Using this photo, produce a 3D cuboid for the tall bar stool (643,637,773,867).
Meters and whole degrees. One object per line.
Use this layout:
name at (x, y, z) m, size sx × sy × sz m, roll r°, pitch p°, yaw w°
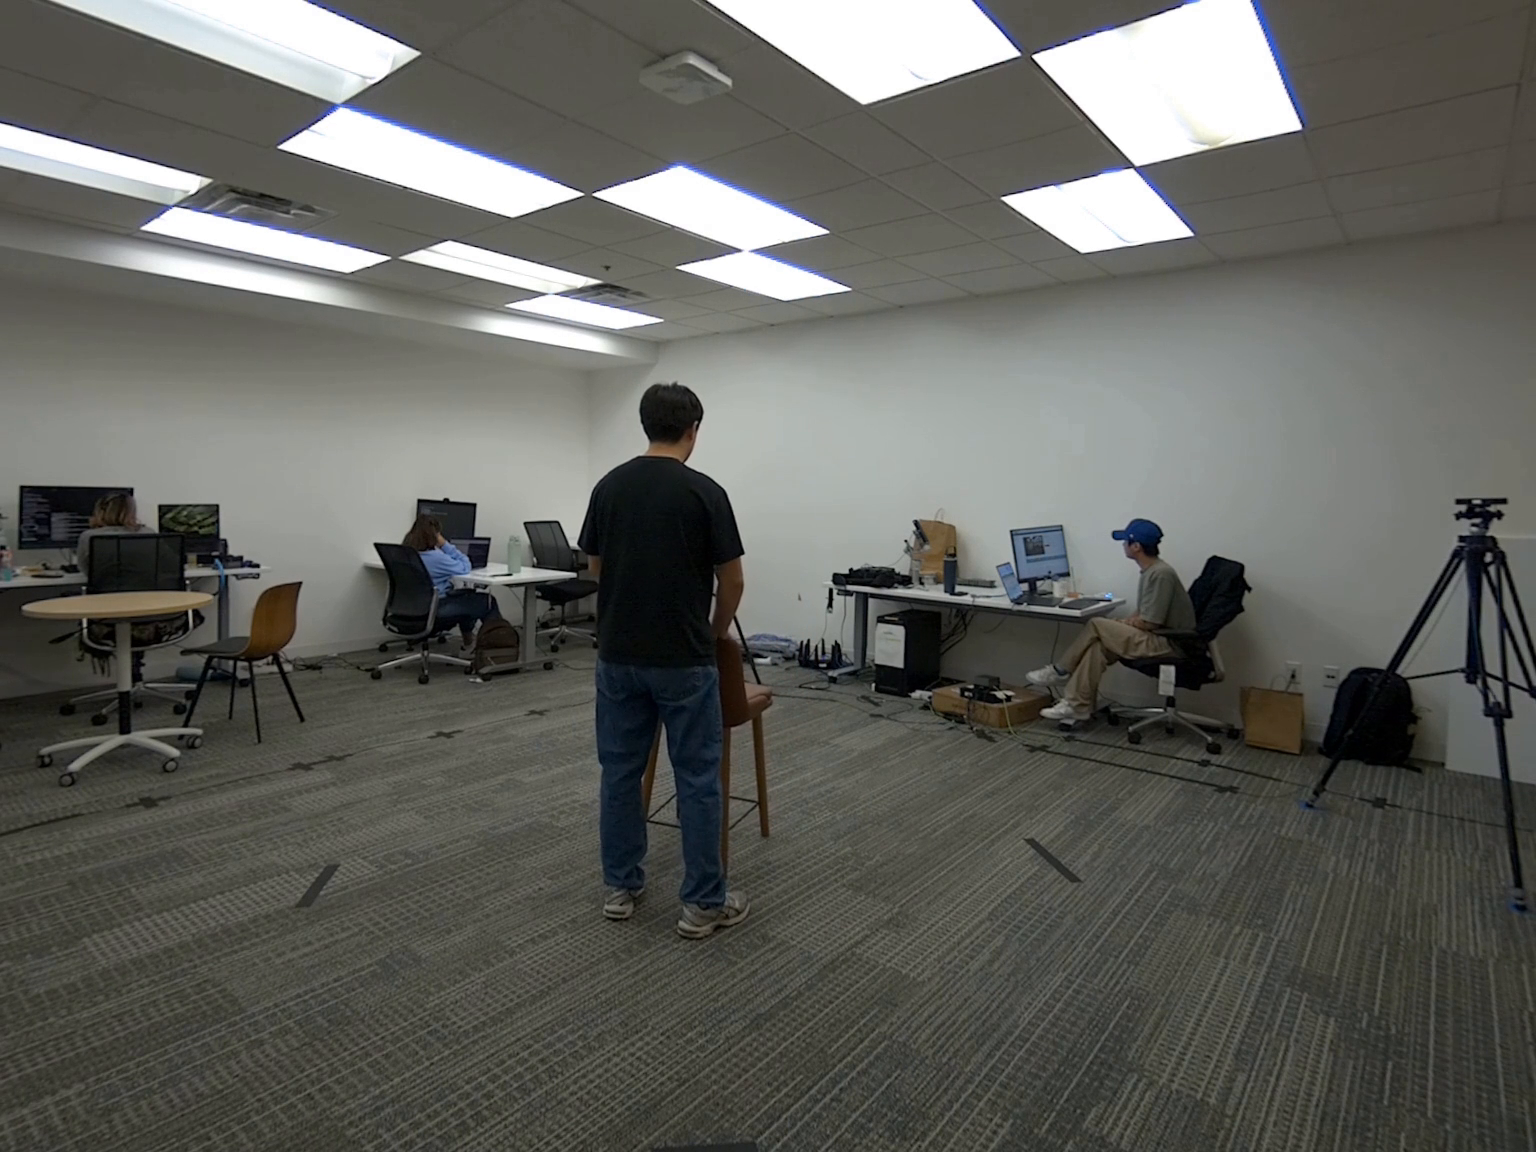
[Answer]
tall bar stool at (-0.252, 0.608, 3.273) m, size 0.467 × 0.886 × 0.459 m, roll 3°, pitch 5°, yaw 21°
